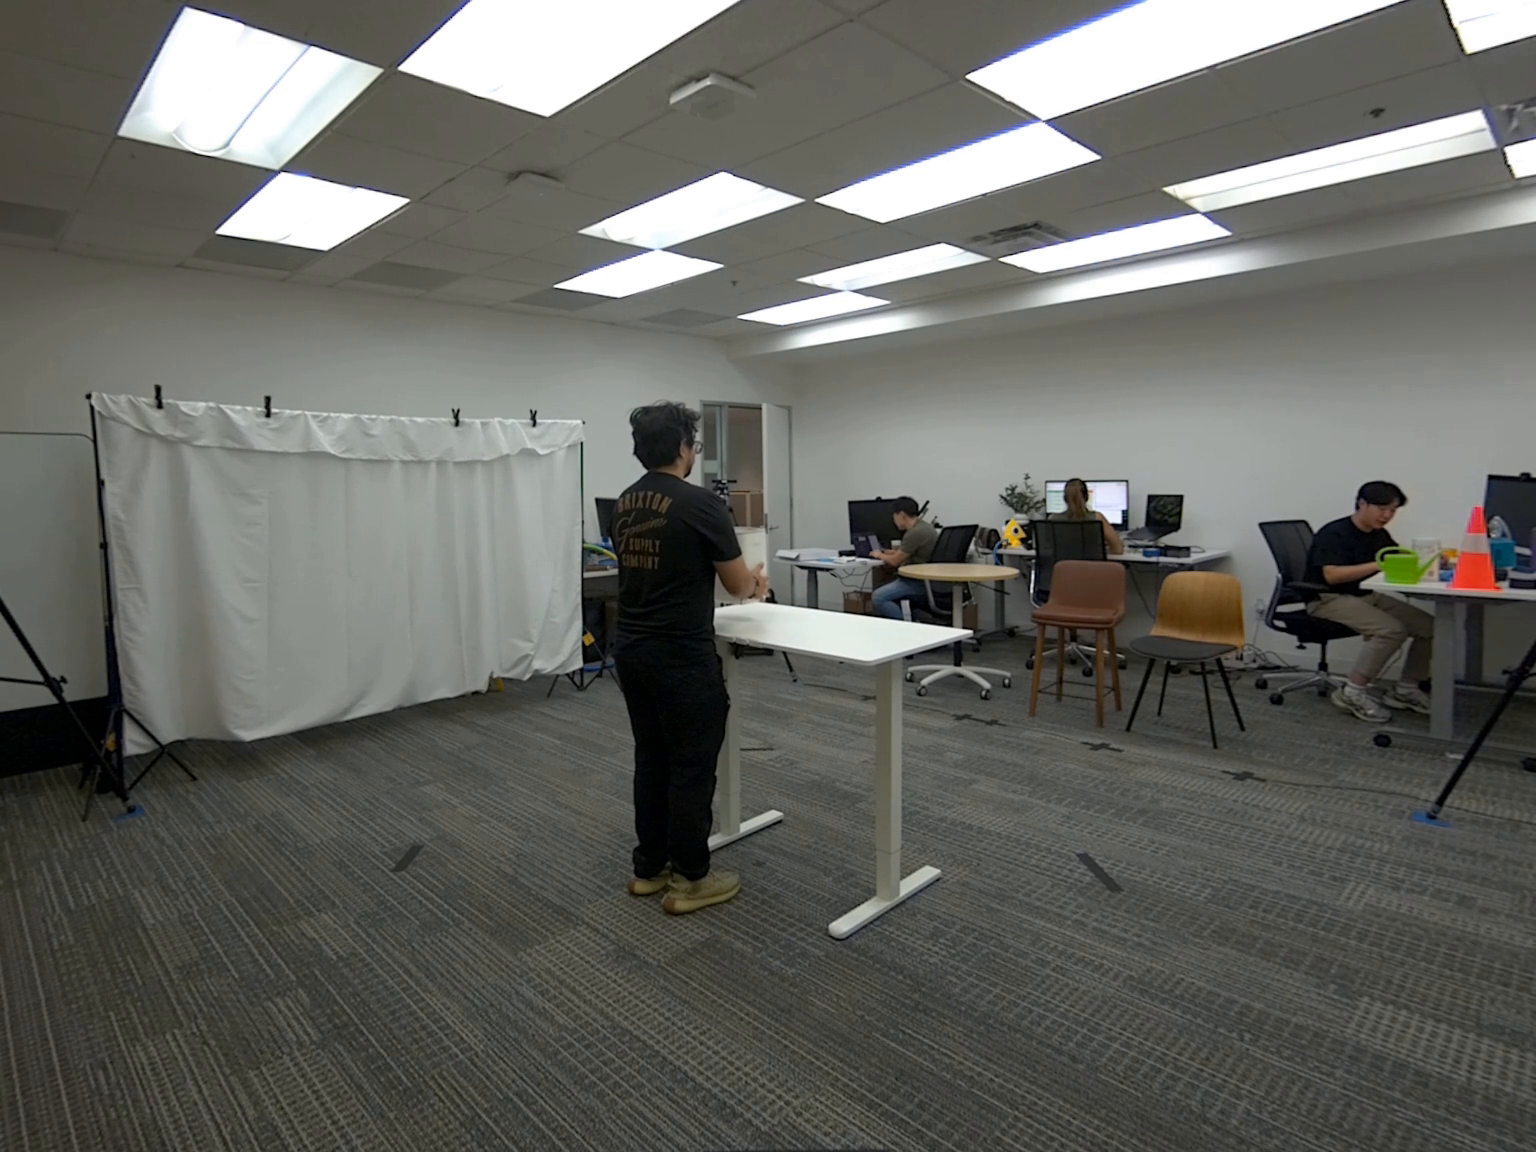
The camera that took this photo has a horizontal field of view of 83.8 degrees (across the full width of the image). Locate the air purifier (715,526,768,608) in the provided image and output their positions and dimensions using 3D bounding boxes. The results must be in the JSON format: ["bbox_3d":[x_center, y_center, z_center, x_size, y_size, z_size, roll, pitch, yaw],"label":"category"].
[{"bbox_3d":[-0.103,-0.037,3.134,0.177,0.263,0.167,4,9,38],"label":"air purifier"}]
